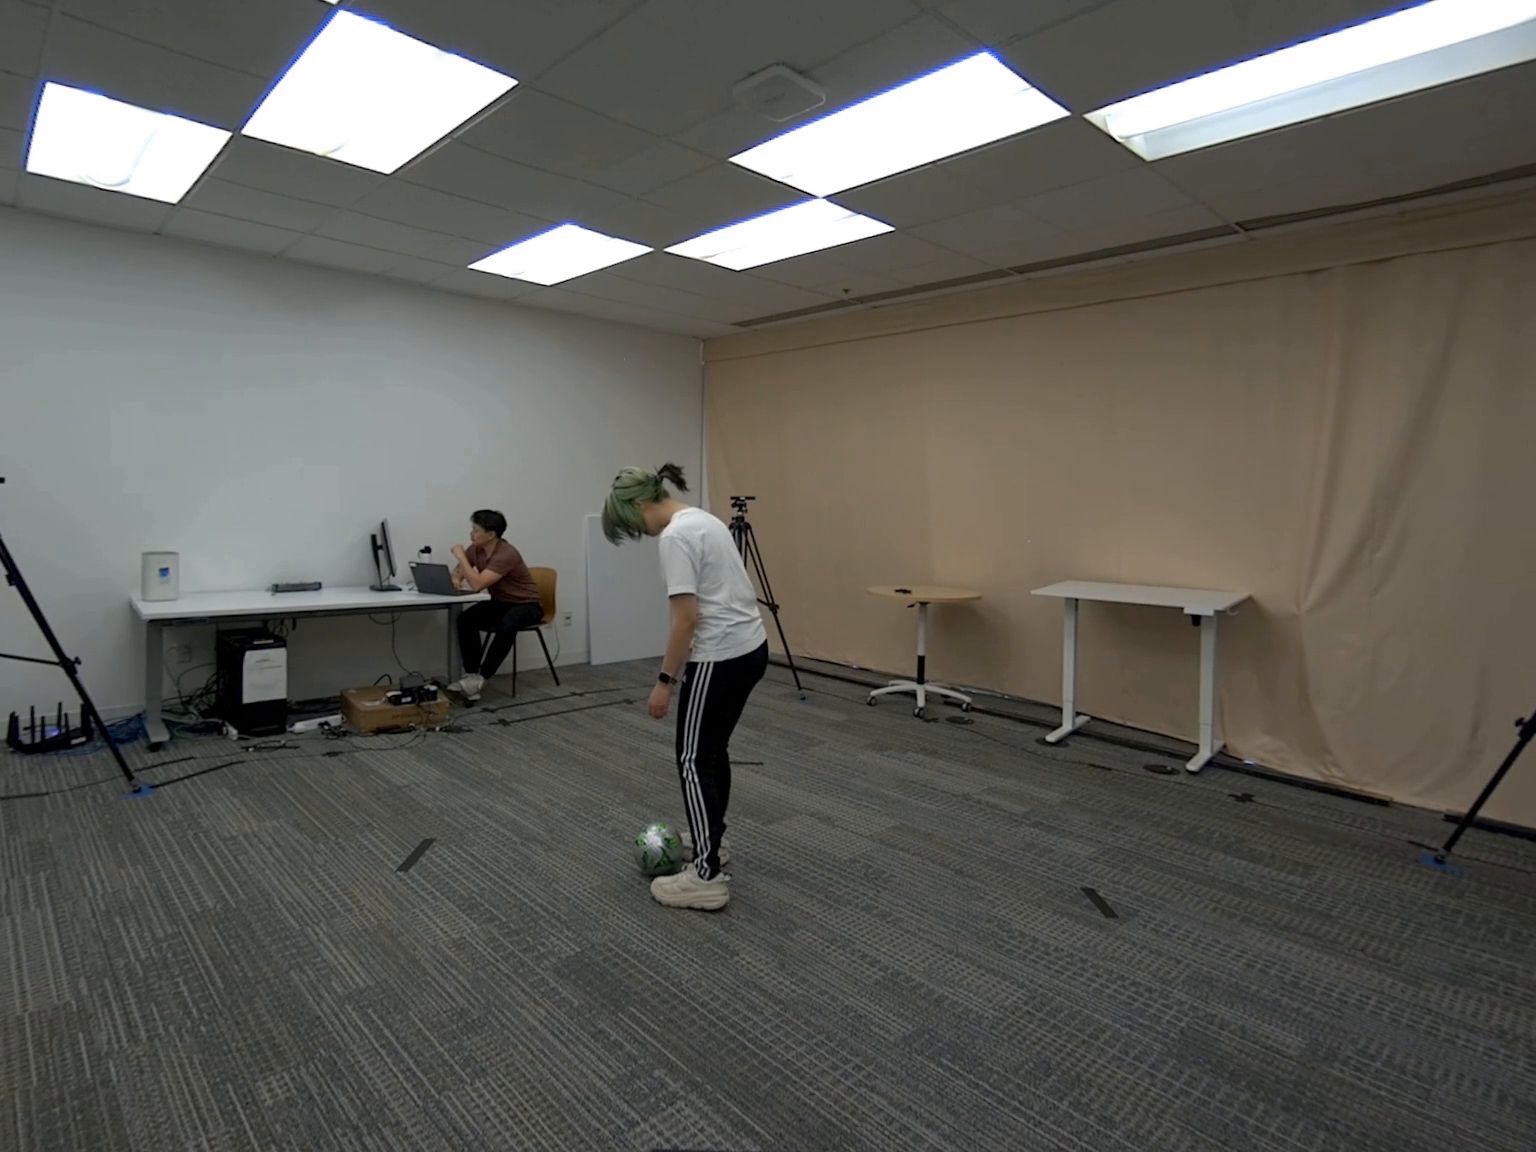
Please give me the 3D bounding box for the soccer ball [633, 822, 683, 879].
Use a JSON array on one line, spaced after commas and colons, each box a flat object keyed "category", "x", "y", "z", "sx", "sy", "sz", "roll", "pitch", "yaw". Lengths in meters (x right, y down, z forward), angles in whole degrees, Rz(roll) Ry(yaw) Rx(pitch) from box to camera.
[{"category": "soccer ball", "x": -0.411, "y": 1.006, "z": 3.106, "sx": 0.187, "sy": 0.187, "sz": 0.188, "roll": 1, "pitch": 4, "yaw": -1}]
